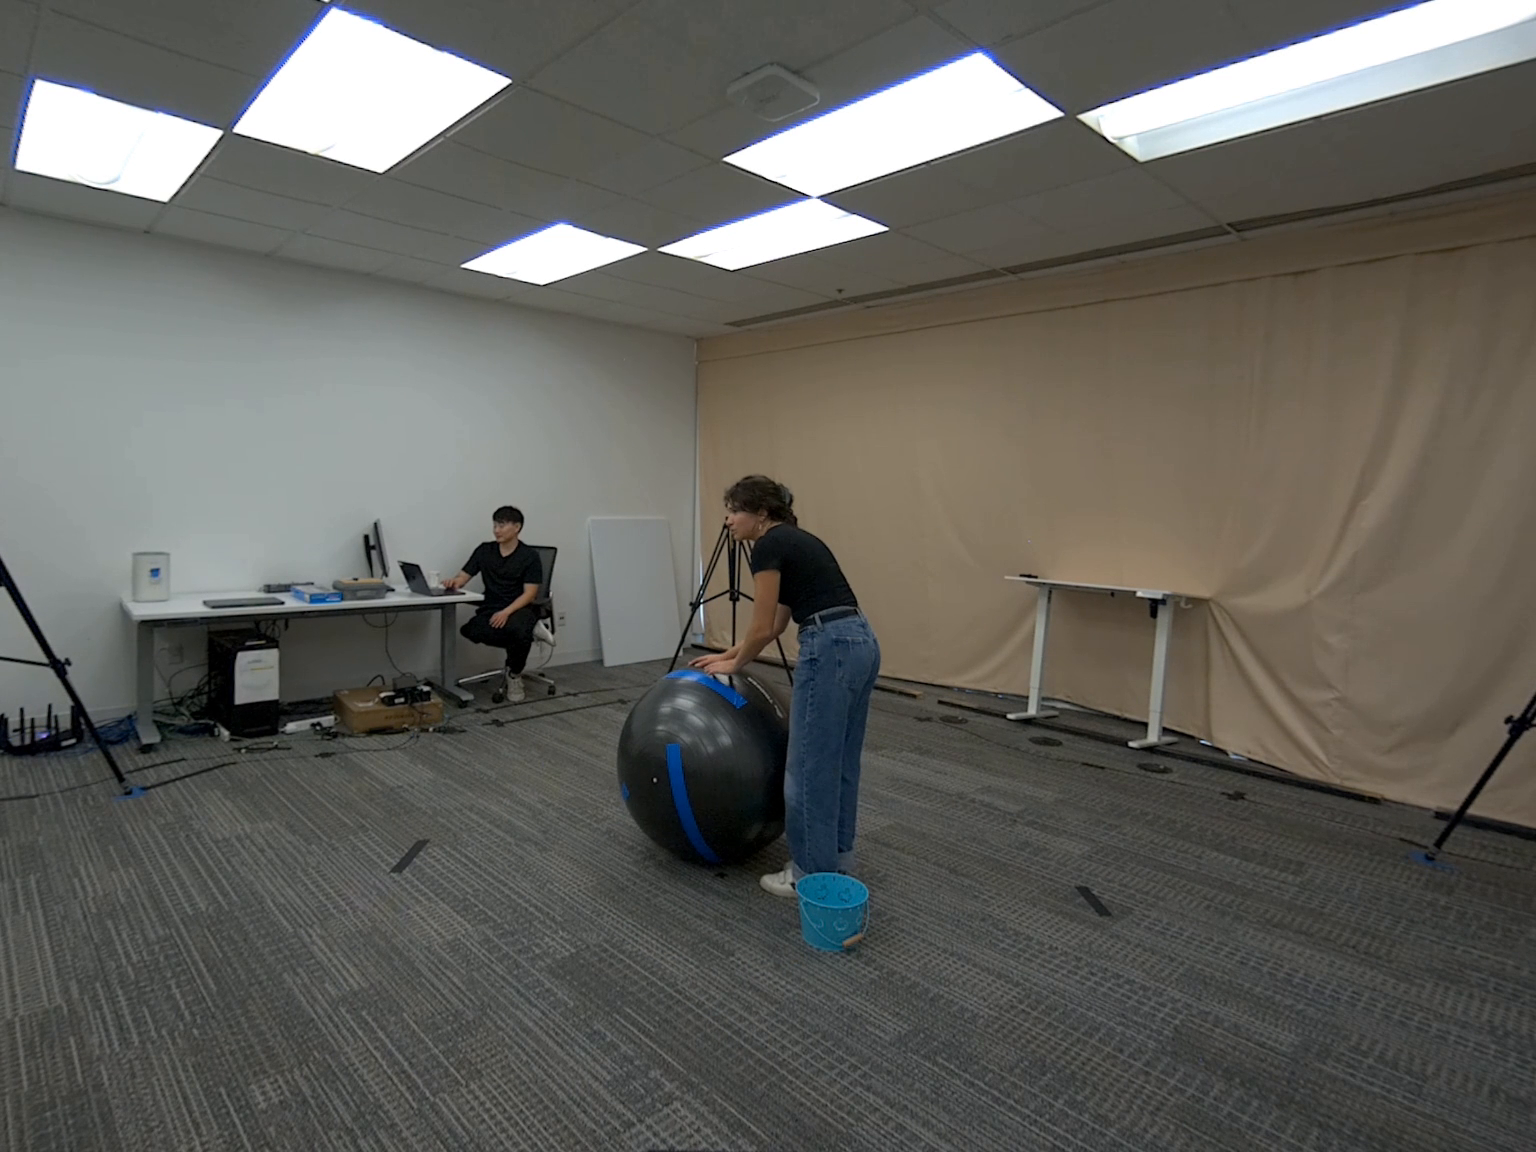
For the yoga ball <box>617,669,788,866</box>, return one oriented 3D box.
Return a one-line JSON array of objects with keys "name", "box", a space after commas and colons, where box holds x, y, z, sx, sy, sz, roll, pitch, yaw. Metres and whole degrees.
[{"name": "yoga ball", "box": [-0.223, 0.722, 3.288, 0.757, 0.756, 0.761, 1, 4, -1]}]
